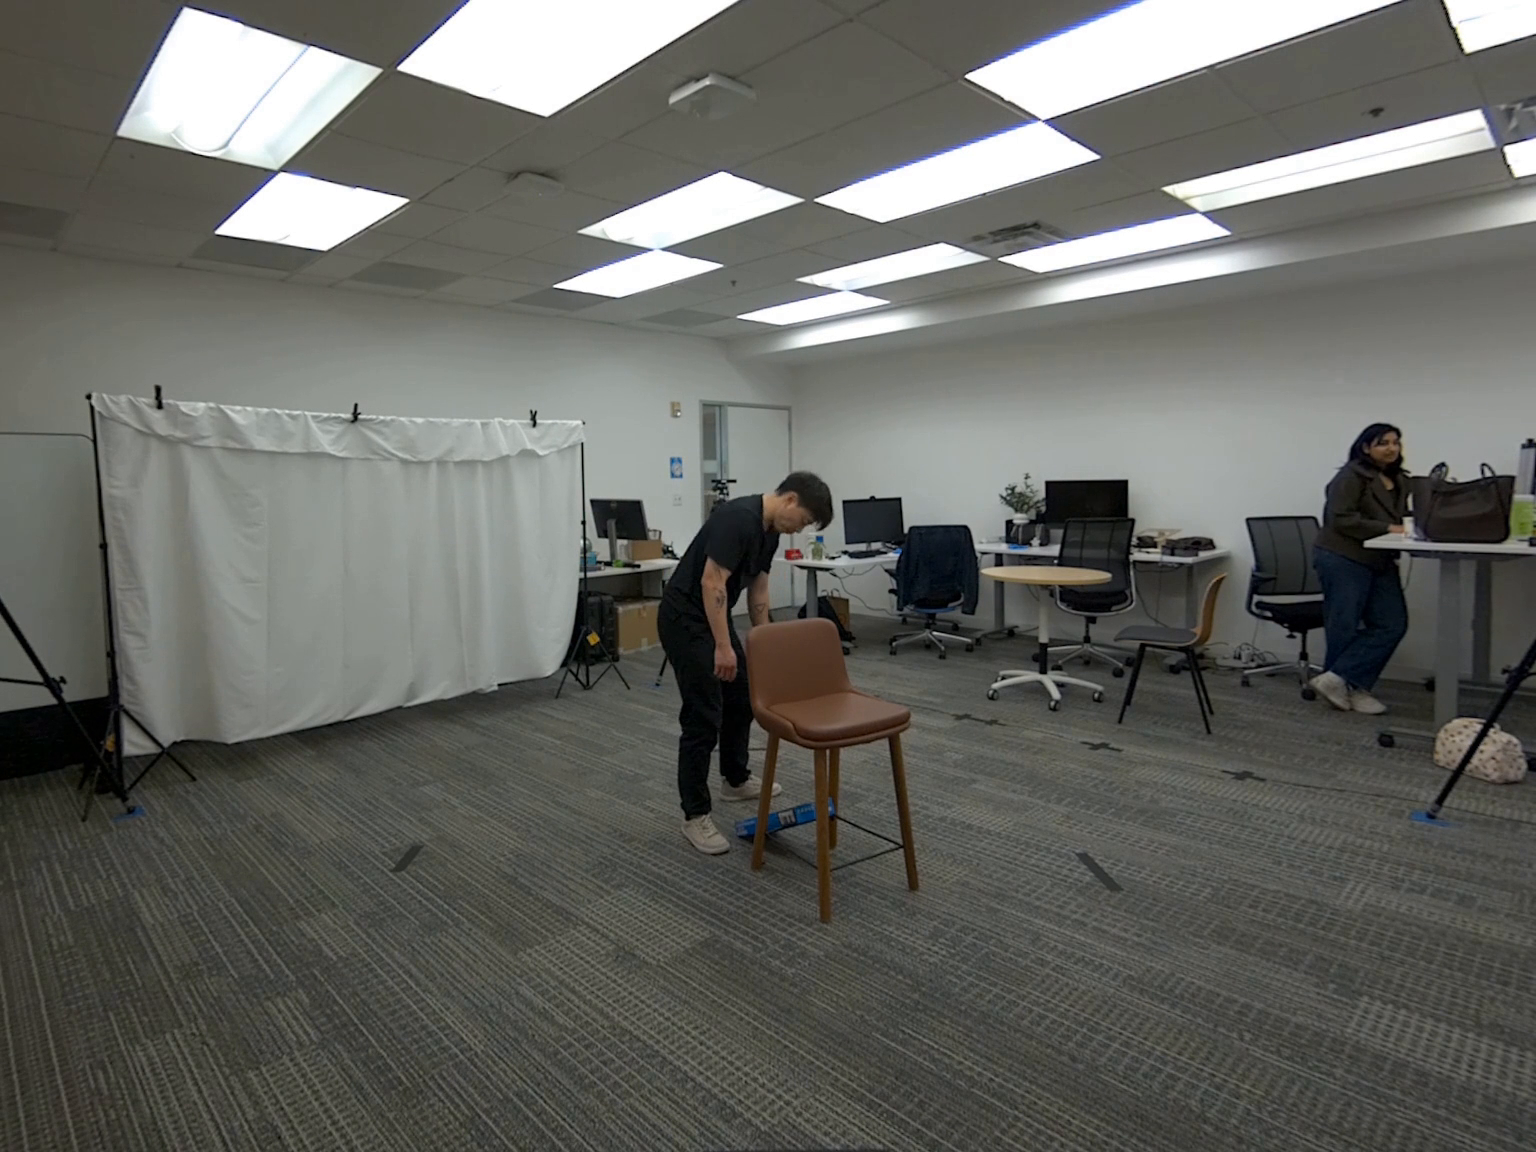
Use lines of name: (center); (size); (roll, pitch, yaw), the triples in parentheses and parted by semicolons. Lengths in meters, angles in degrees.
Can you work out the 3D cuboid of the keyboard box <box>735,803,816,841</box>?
keyboard box: (0.055, 0.916, 3.221); (0.171, 0.060, 0.439); (-4, -19, -33)
